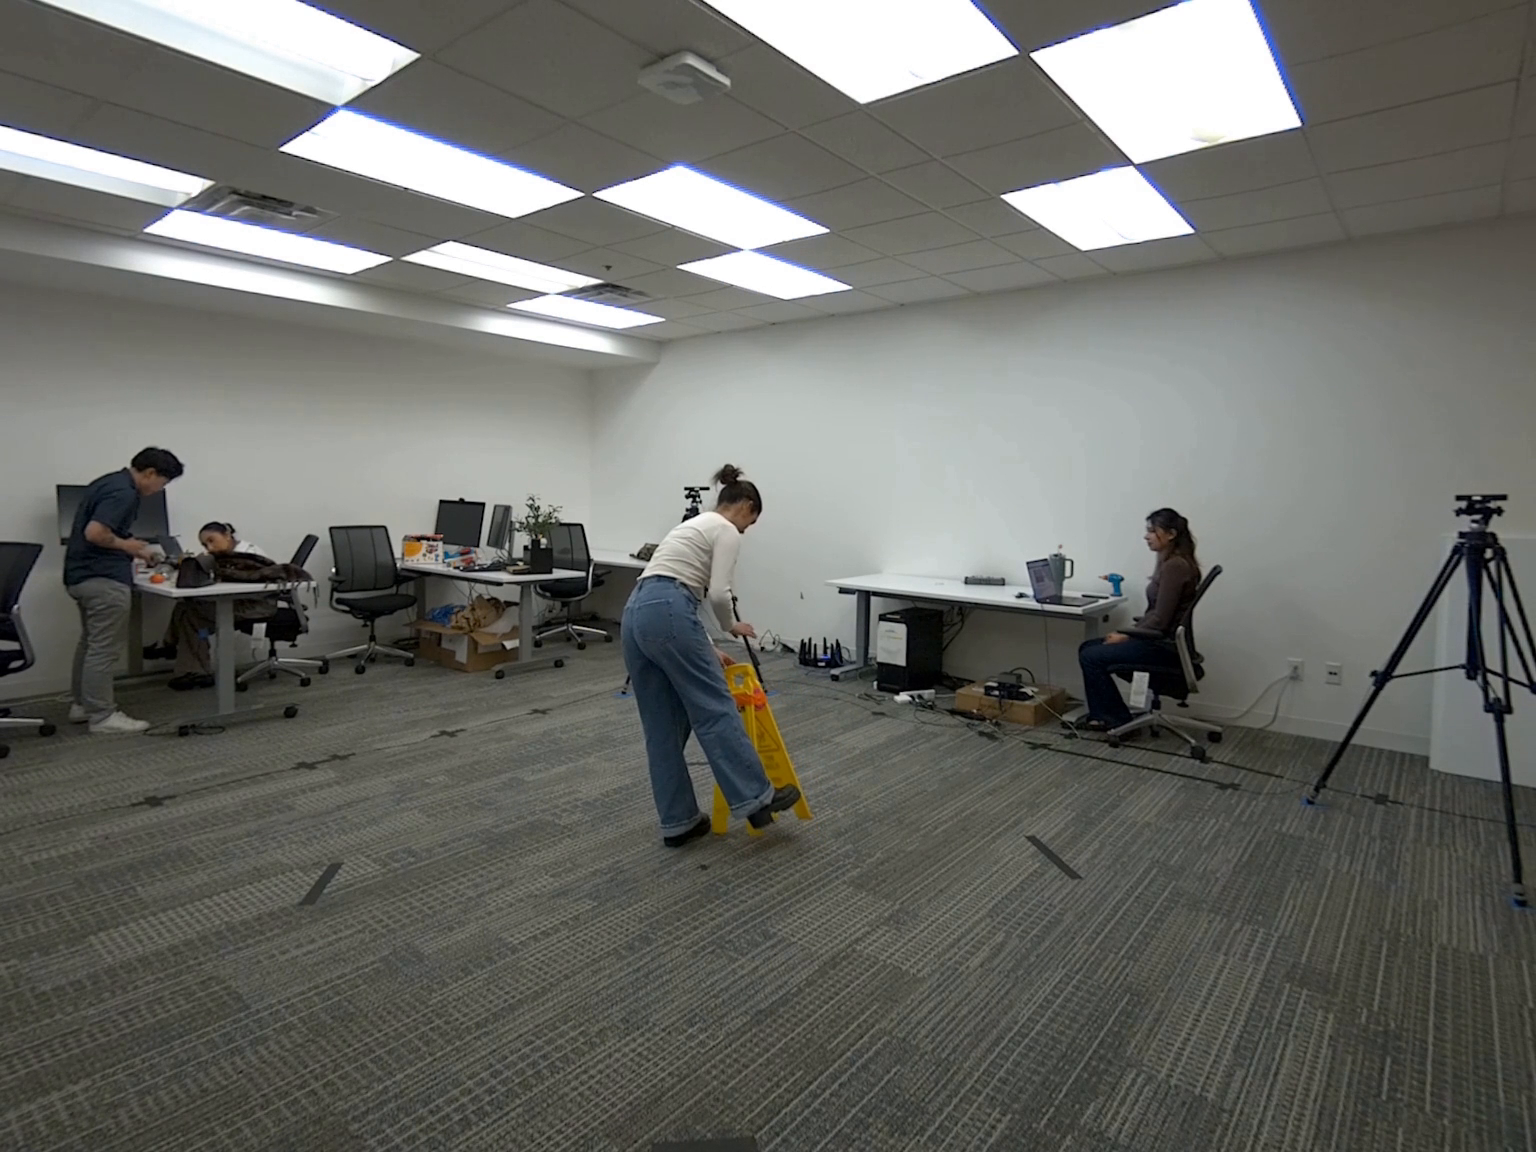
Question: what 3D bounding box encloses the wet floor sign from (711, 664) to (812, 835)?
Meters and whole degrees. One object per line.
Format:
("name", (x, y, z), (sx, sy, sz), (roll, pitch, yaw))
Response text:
("wet floor sign", (-0.087, 0.686, 3.471), (0.281, 0.654, 0.287), (-2, -14, -39))
